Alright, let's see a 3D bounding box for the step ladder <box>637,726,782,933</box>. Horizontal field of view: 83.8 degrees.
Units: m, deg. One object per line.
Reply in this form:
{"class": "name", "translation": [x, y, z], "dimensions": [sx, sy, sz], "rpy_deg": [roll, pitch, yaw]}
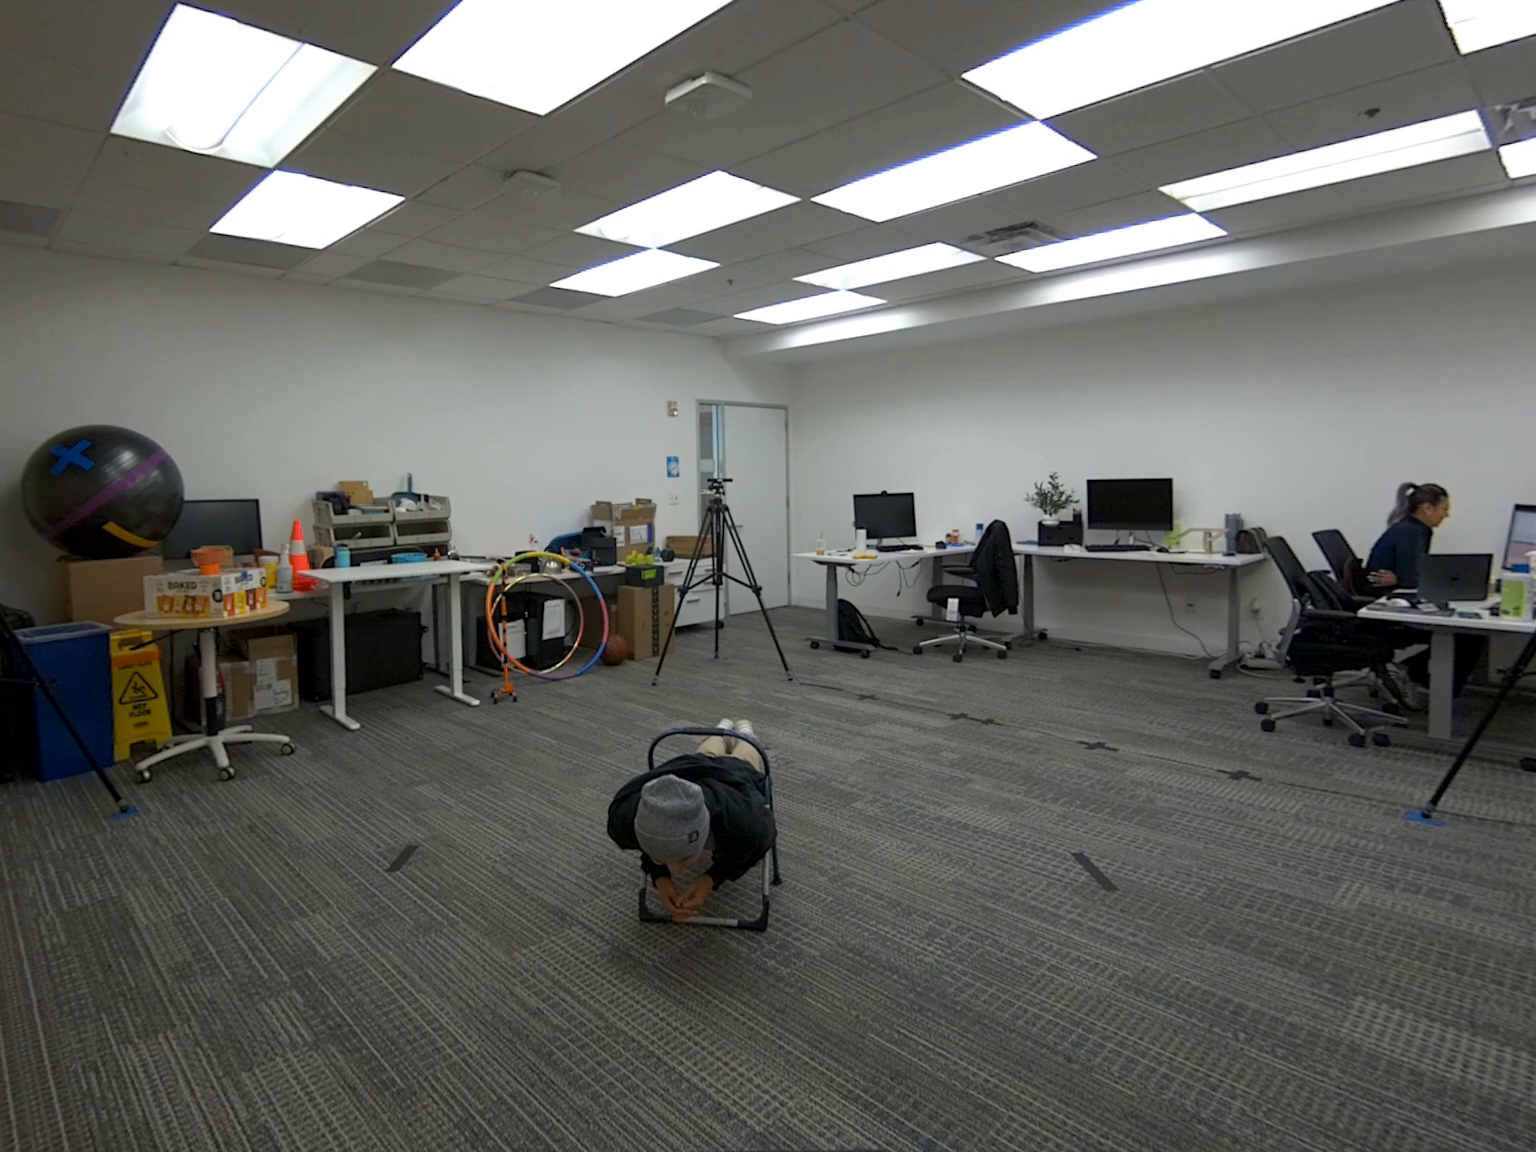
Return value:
{"class": "step ladder", "translation": [-0.185, 0.783, 2.819], "dimensions": [0.434, 0.603, 0.348], "rpy_deg": [-1, 6, 8]}
